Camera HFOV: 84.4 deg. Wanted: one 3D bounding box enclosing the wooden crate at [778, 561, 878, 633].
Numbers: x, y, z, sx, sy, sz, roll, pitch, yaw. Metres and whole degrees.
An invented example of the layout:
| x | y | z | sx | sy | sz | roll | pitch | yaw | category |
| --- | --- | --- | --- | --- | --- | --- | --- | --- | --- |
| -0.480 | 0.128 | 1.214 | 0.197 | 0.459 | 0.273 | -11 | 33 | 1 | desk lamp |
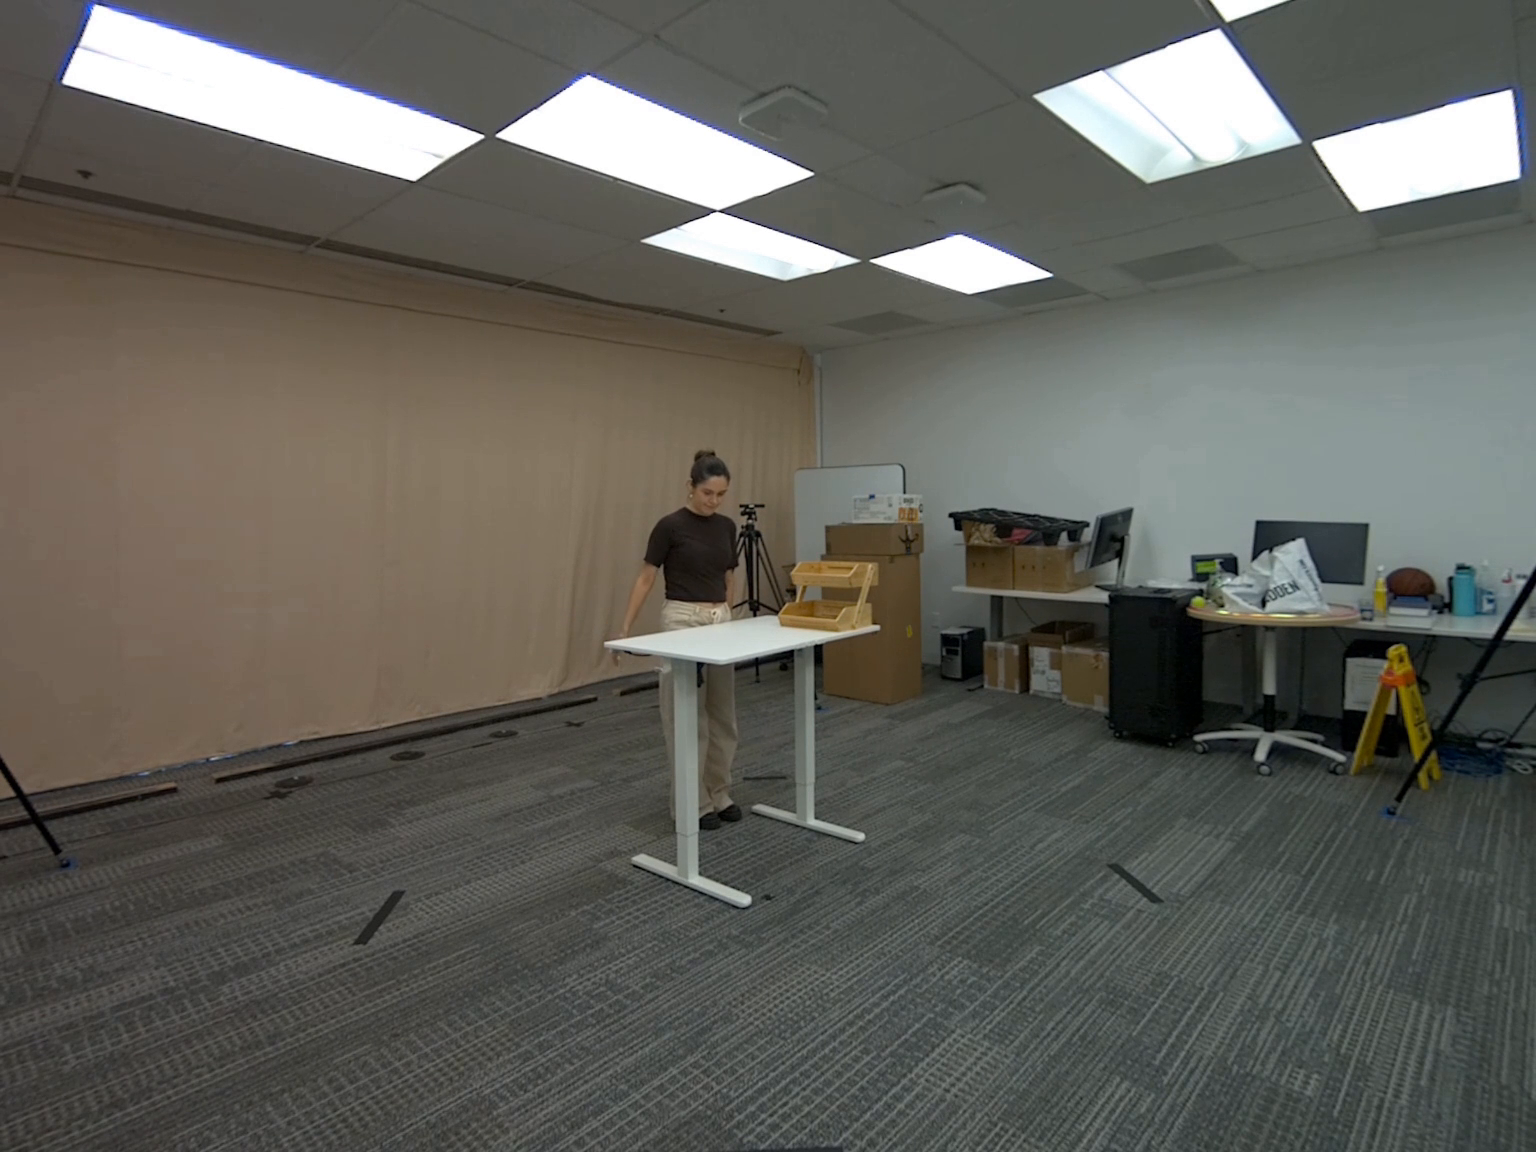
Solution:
| x | y | z | sx | sy | sz | roll | pitch | yaw | category |
| --- | --- | --- | --- | --- | --- | --- | --- | --- | --- |
| 0.254 | 0.075 | 3.527 | 0.335 | 0.273 | 0.293 | 2 | 4 | 41 | wooden crate |
